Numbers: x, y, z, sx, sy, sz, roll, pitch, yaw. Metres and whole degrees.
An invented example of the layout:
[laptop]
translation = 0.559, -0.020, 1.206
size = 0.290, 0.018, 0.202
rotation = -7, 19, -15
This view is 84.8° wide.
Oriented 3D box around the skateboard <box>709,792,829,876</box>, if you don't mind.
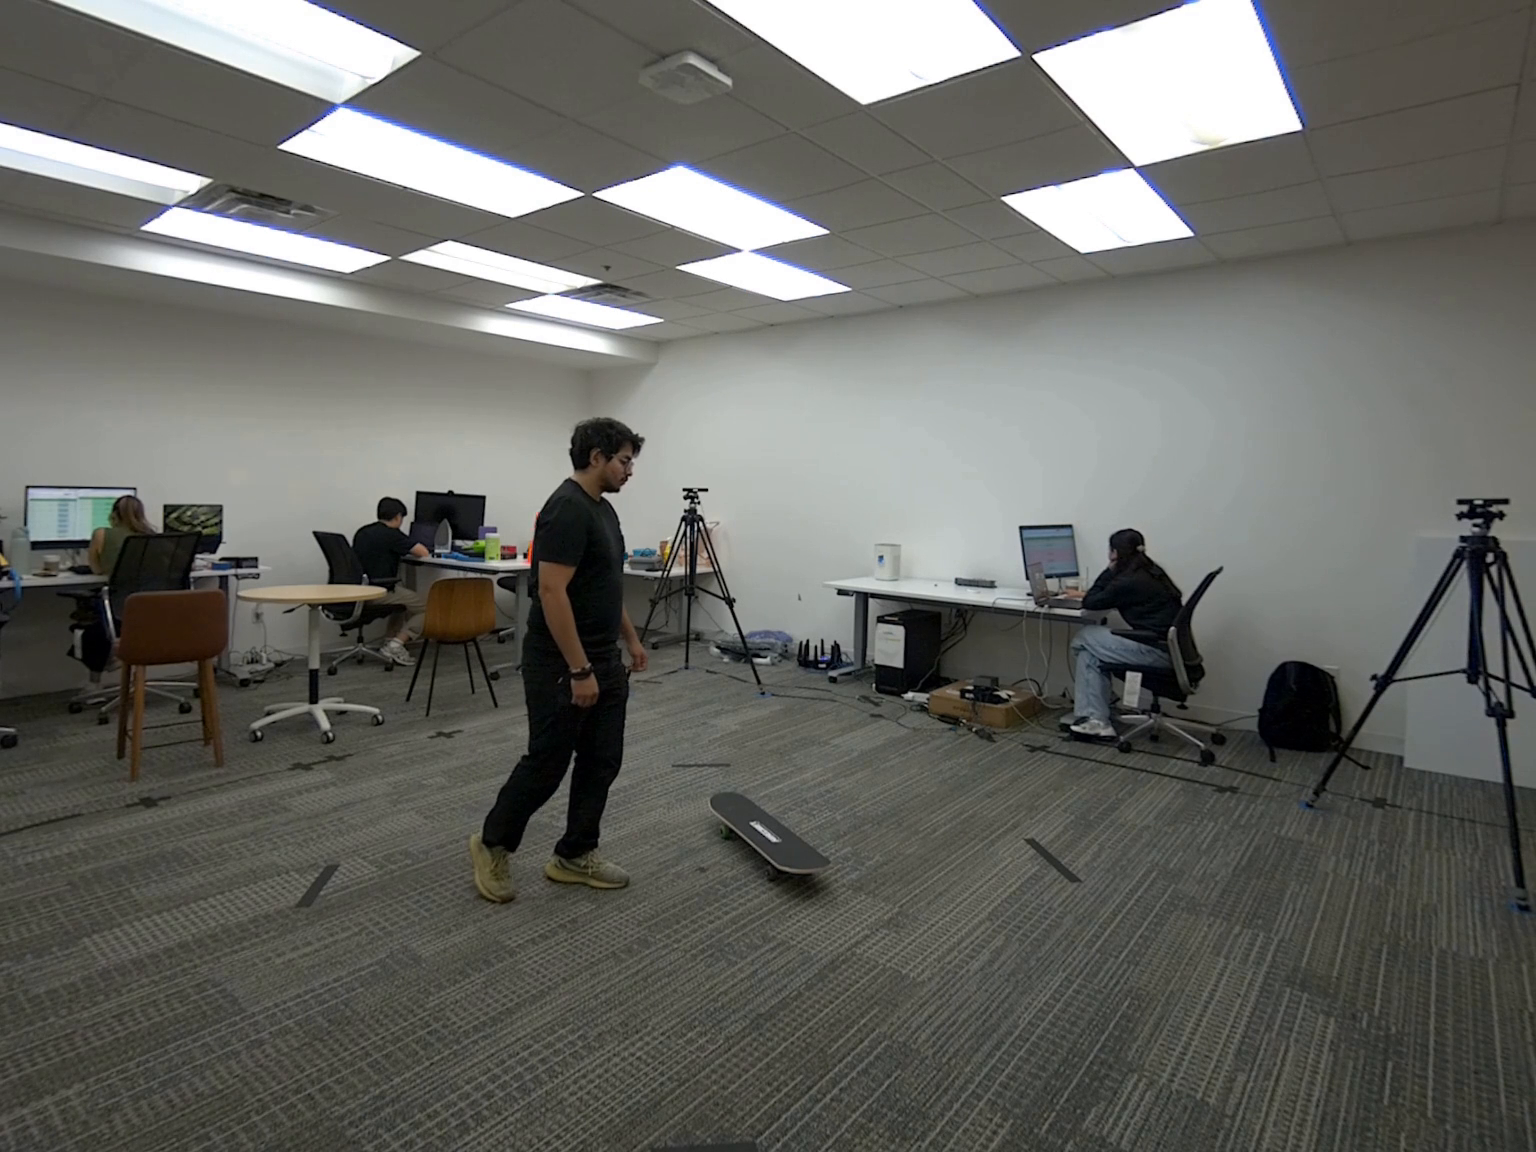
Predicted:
[skateboard]
translation = -0.023, 1.003, 3.245
size = 0.189, 0.110, 0.808
rotation = -2, 7, -27
